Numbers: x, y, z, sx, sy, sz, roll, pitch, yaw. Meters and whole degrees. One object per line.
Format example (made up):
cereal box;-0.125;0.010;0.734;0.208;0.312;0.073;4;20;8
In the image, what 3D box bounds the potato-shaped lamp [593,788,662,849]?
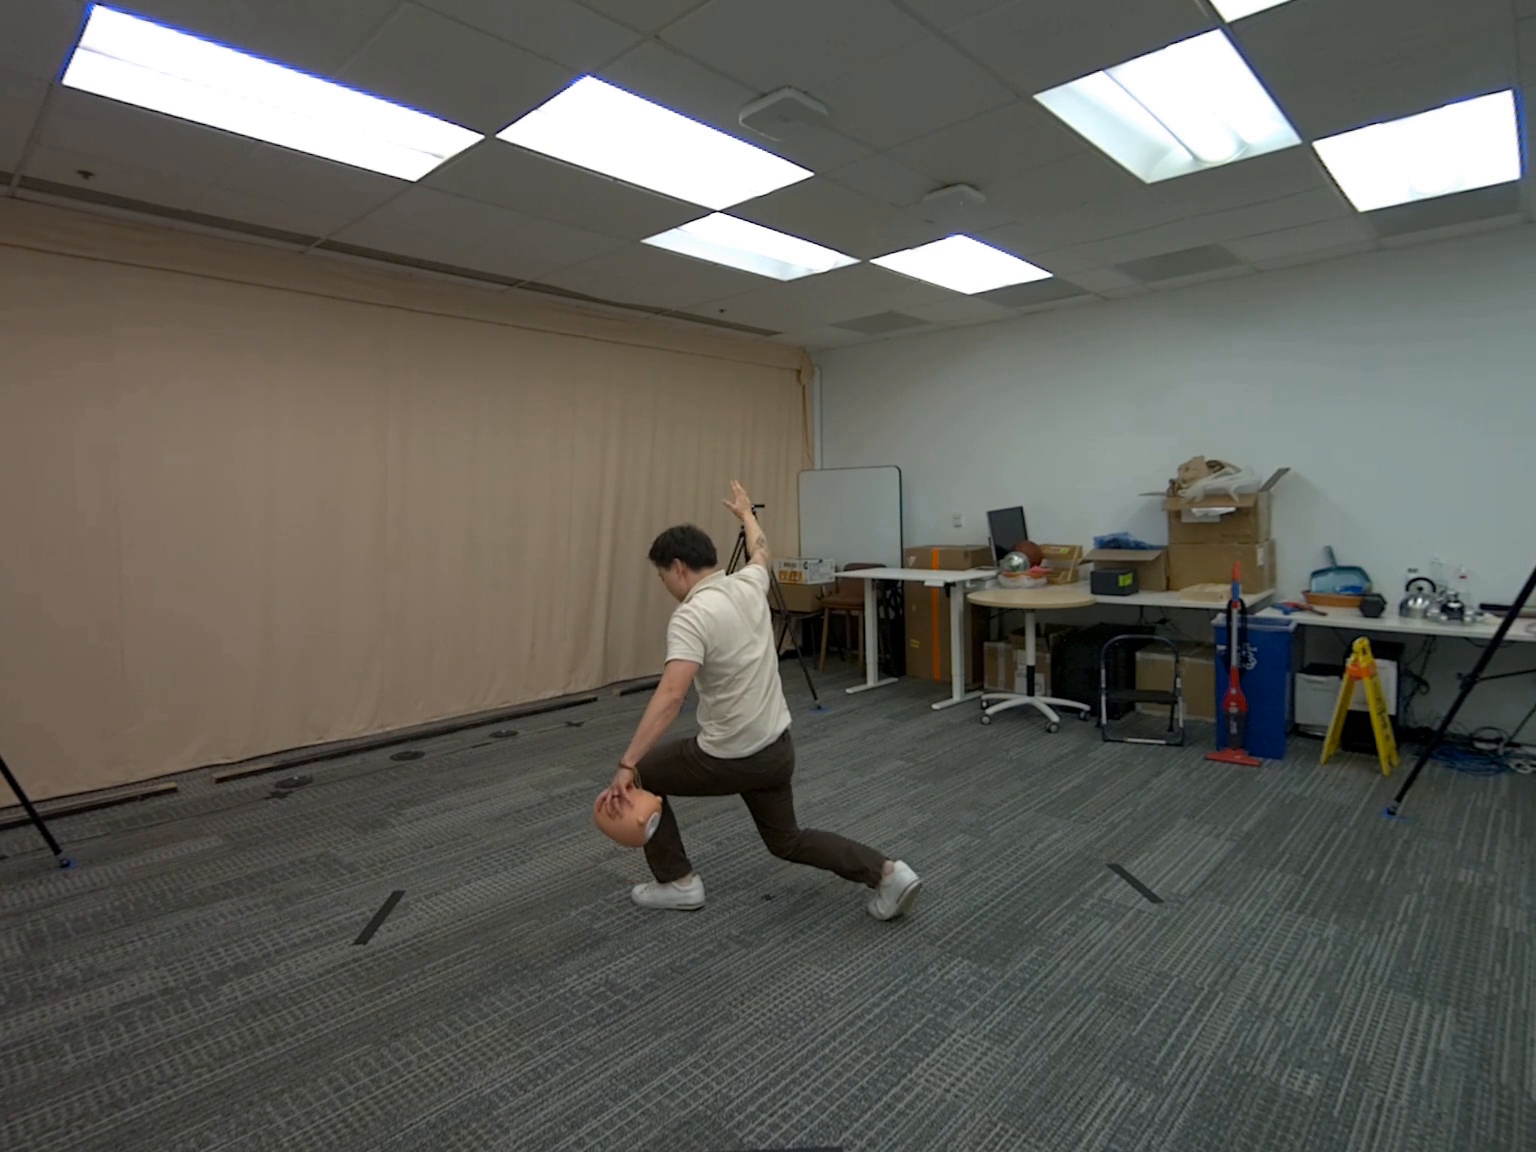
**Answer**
potato-shaped lamp;-0.425;0.711;2.533;0.203;0.170;0.162;20;27;19
